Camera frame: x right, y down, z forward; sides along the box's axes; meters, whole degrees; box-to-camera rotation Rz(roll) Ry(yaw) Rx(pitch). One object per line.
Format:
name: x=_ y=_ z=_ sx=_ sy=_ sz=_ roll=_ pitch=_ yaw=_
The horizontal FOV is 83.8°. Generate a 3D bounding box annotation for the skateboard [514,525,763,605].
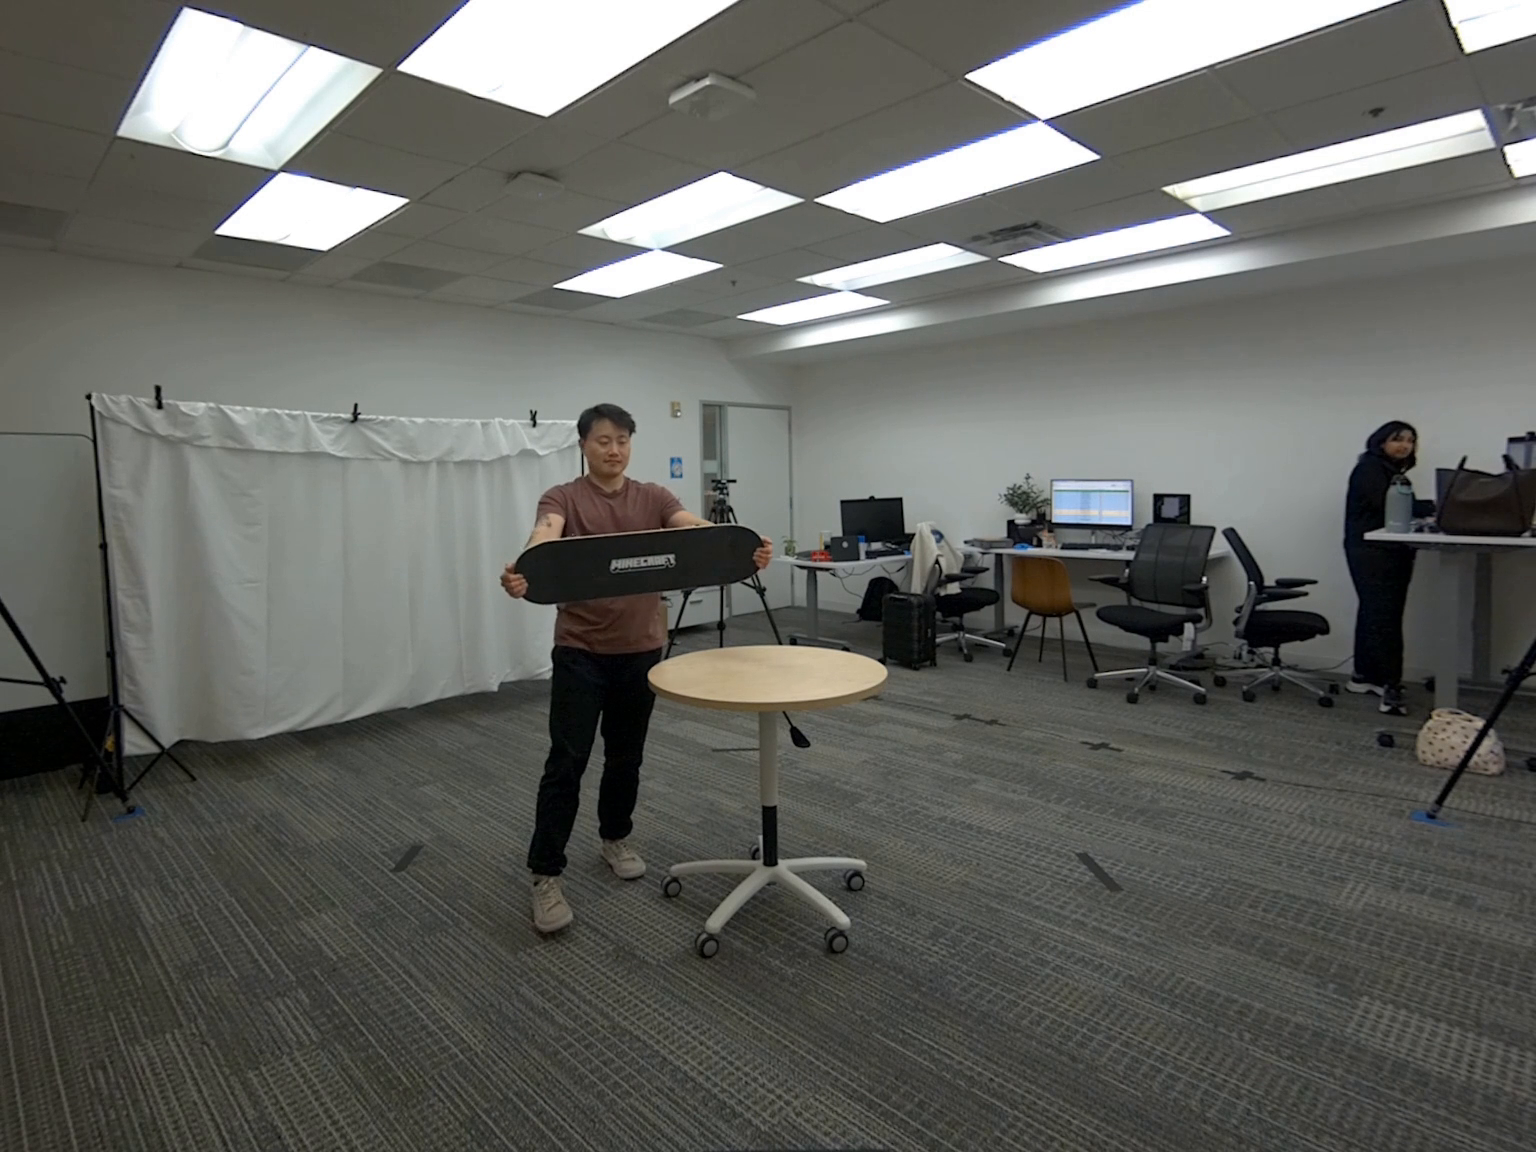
skateboard: x=-0.398 y=-0.045 z=2.615 sx=0.773 sy=0.191 sz=0.113 roll=-6 pitch=11 yaw=-19
